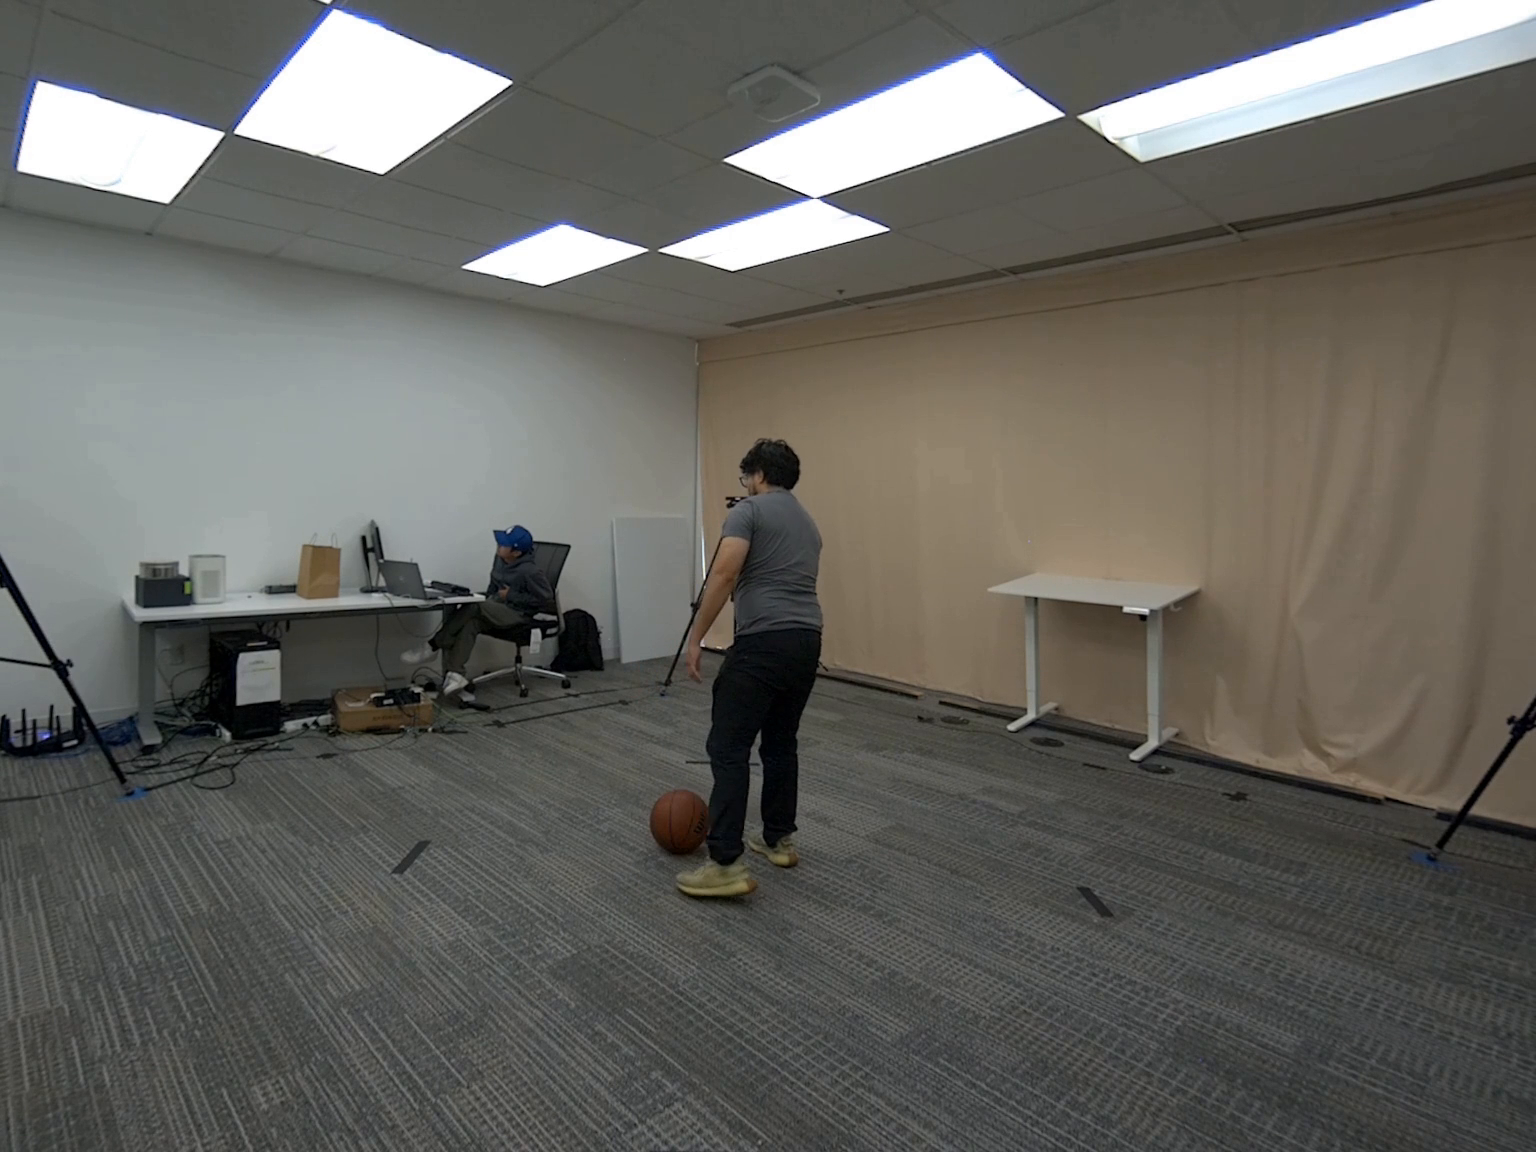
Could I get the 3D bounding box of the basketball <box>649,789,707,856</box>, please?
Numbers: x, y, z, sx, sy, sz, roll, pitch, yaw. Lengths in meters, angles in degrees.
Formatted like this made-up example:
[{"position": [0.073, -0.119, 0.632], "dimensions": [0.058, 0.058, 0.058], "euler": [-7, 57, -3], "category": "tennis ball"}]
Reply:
[{"position": [-0.354, 0.960, 3.311], "dimensions": [0.236, 0.235, 0.237], "euler": [1, 4, -1], "category": "basketball"}]
